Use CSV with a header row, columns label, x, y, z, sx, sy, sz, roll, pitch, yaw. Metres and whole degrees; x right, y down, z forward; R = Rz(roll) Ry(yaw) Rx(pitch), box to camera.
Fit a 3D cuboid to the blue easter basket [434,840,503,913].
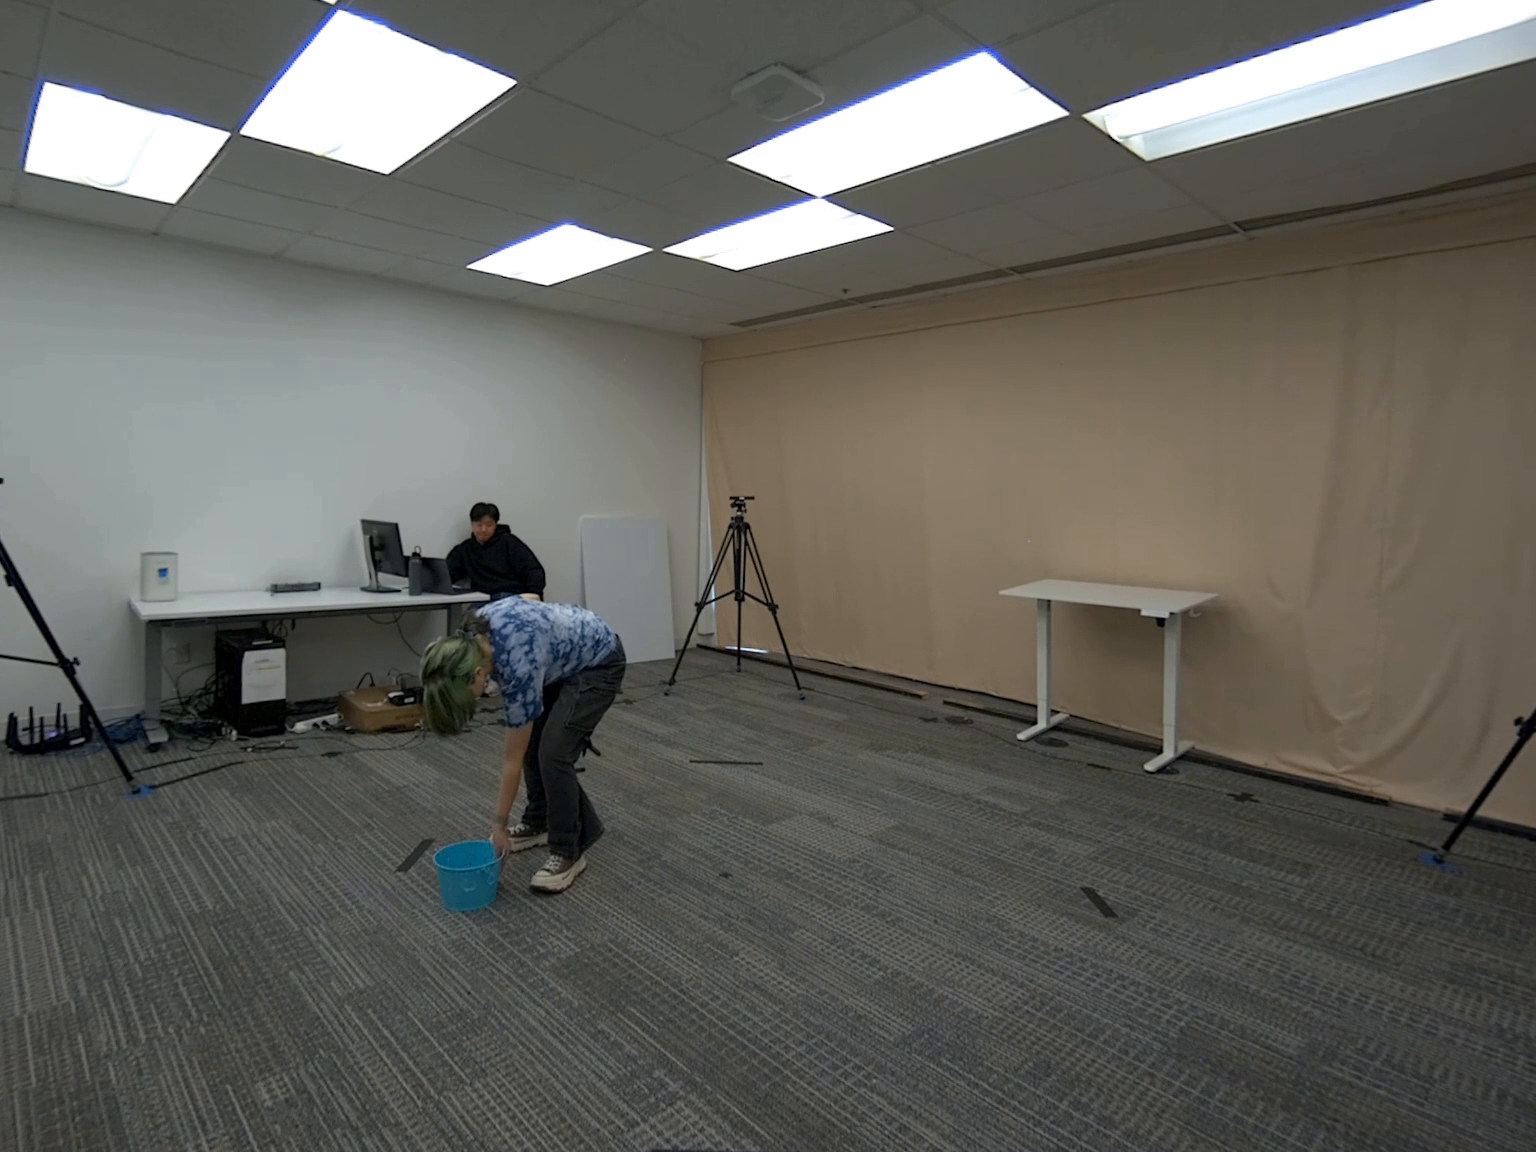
label,x,y,z,sx,sy,sz,roll,pitch,yaw
blue easter basket,-1.030,1.031,2.874,0.243,0.155,0.245,1,6,-1
